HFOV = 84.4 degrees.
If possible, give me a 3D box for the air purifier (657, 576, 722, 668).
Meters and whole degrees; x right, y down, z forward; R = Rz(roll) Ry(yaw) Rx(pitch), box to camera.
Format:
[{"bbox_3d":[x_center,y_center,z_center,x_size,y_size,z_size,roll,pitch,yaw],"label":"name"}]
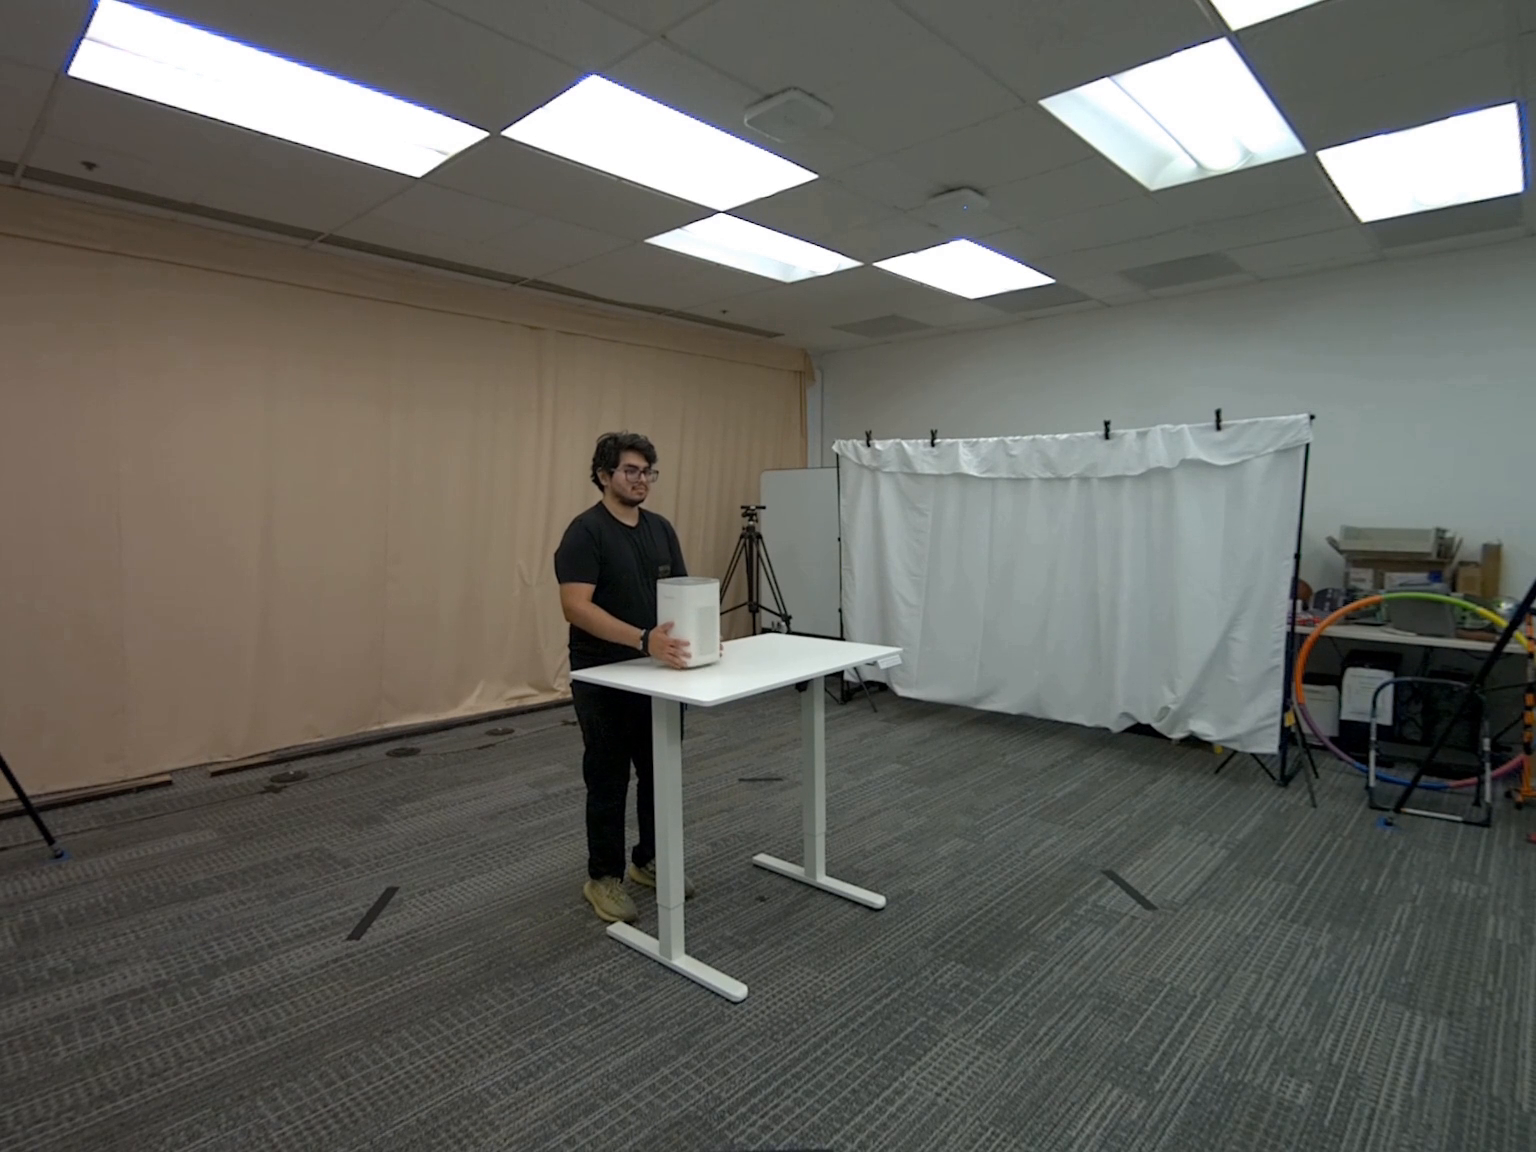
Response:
[{"bbox_3d":[-0.247,0.140,2.685,0.177,0.265,0.166,4,5,43],"label":"air purifier"}]
